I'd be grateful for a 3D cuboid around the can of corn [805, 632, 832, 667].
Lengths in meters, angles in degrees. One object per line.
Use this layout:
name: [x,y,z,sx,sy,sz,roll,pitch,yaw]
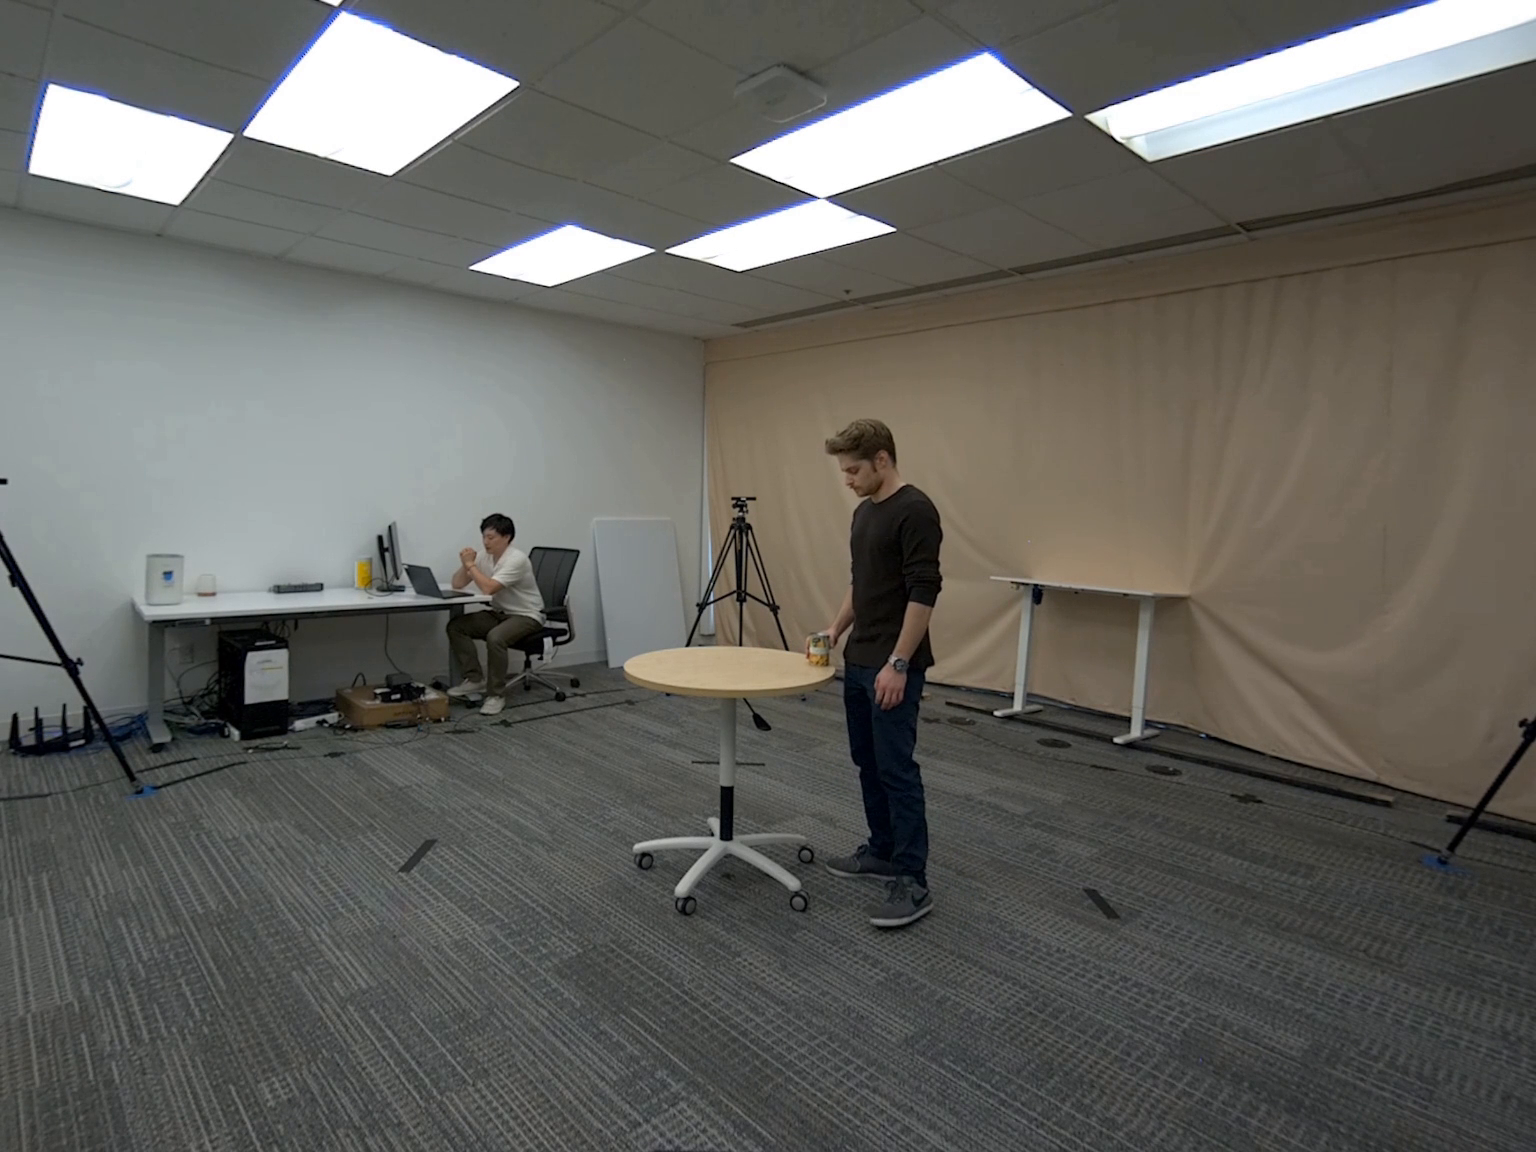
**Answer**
can of corn: [0.190,0.272,3.103,0.074,0.111,0.074,-1,0,-1]
